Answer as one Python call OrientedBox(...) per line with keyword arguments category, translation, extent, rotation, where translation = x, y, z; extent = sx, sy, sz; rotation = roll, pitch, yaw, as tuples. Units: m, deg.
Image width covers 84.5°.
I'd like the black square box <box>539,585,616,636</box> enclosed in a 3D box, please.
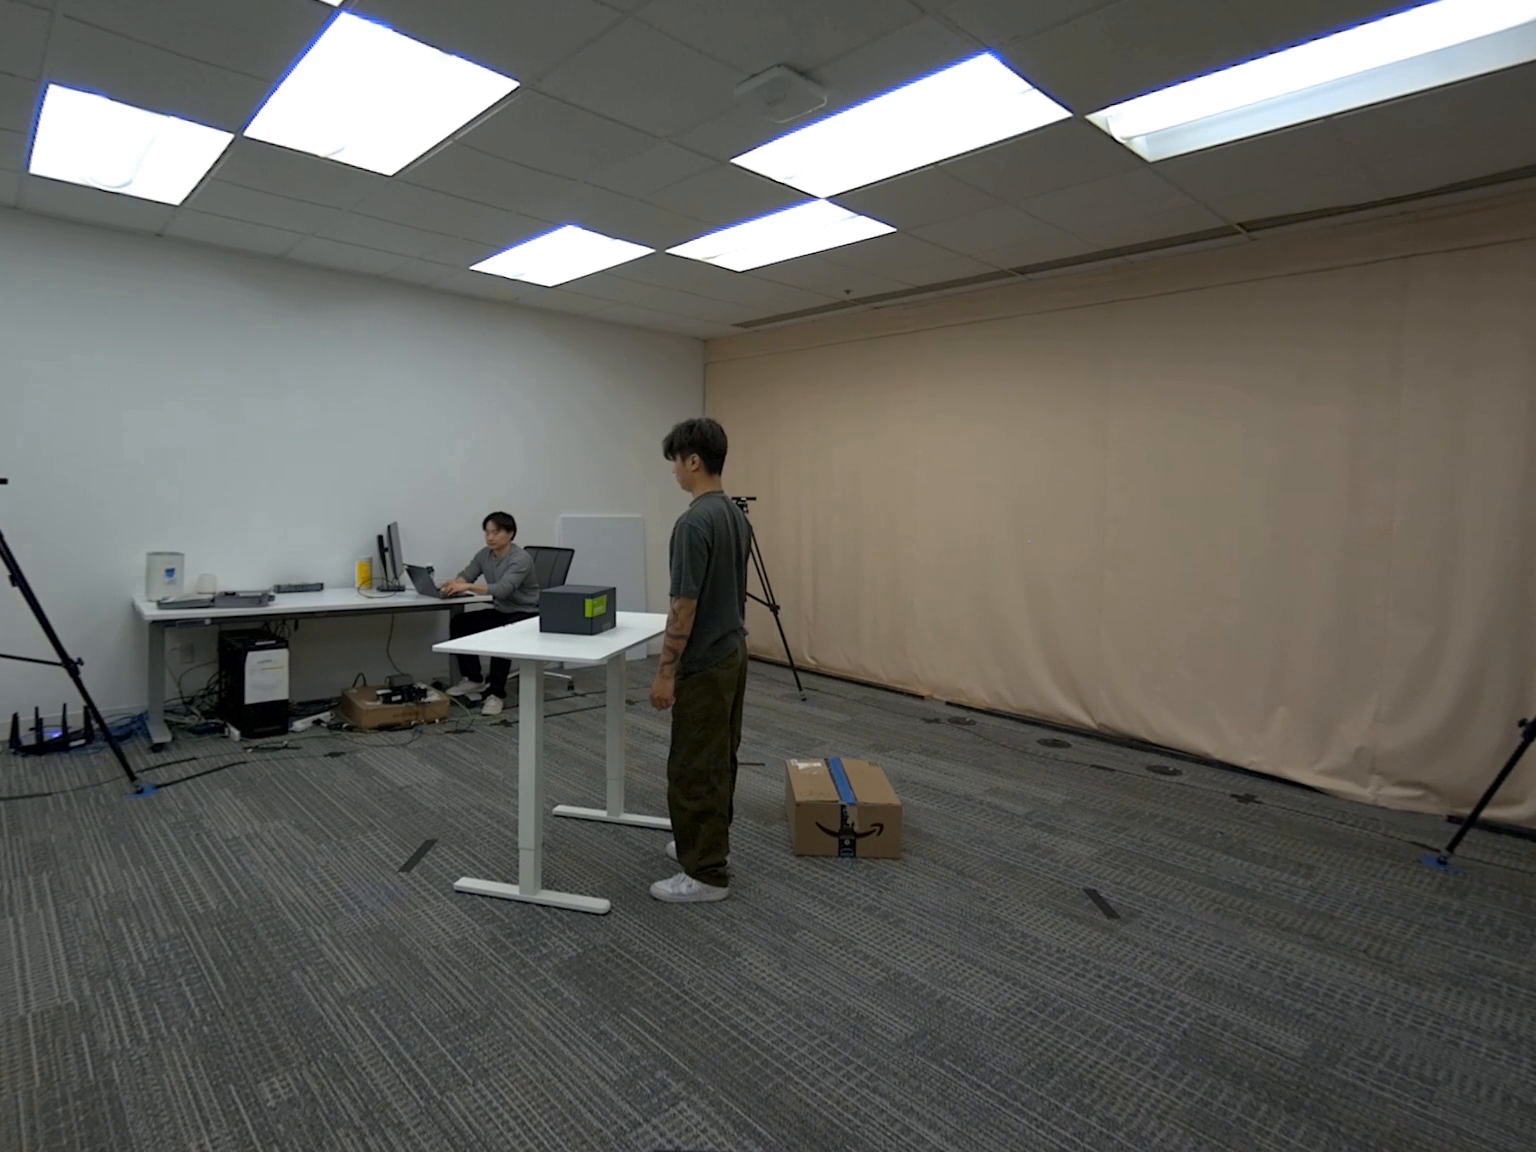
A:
OrientedBox(category="black square box", translation=(-0.725, 0.122, 3.185), extent=(0.219, 0.155, 0.226), rotation=(1, 6, 14))
